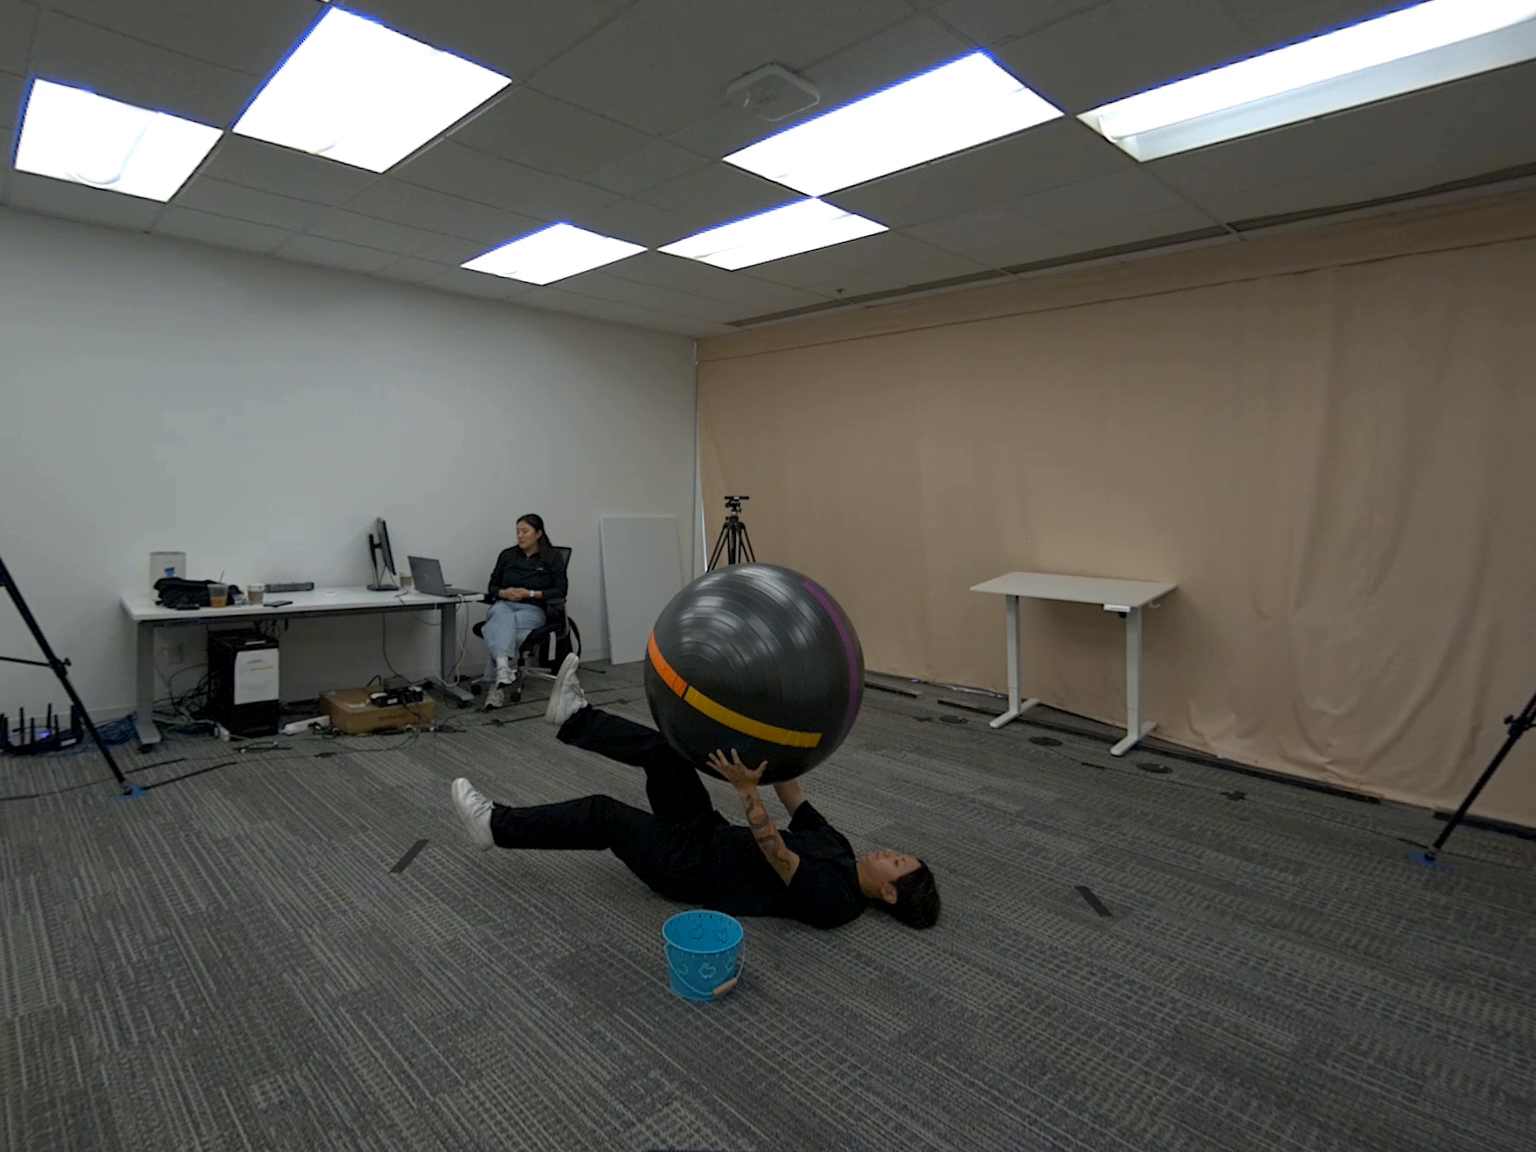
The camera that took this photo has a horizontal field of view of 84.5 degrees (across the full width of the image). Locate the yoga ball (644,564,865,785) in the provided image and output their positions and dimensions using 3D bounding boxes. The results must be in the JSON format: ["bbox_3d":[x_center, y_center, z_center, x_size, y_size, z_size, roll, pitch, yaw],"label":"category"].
[{"bbox_3d":[-0.048,0.339,2.916,0.757,0.756,0.761,1,4,-1],"label":"yoga ball"}]
